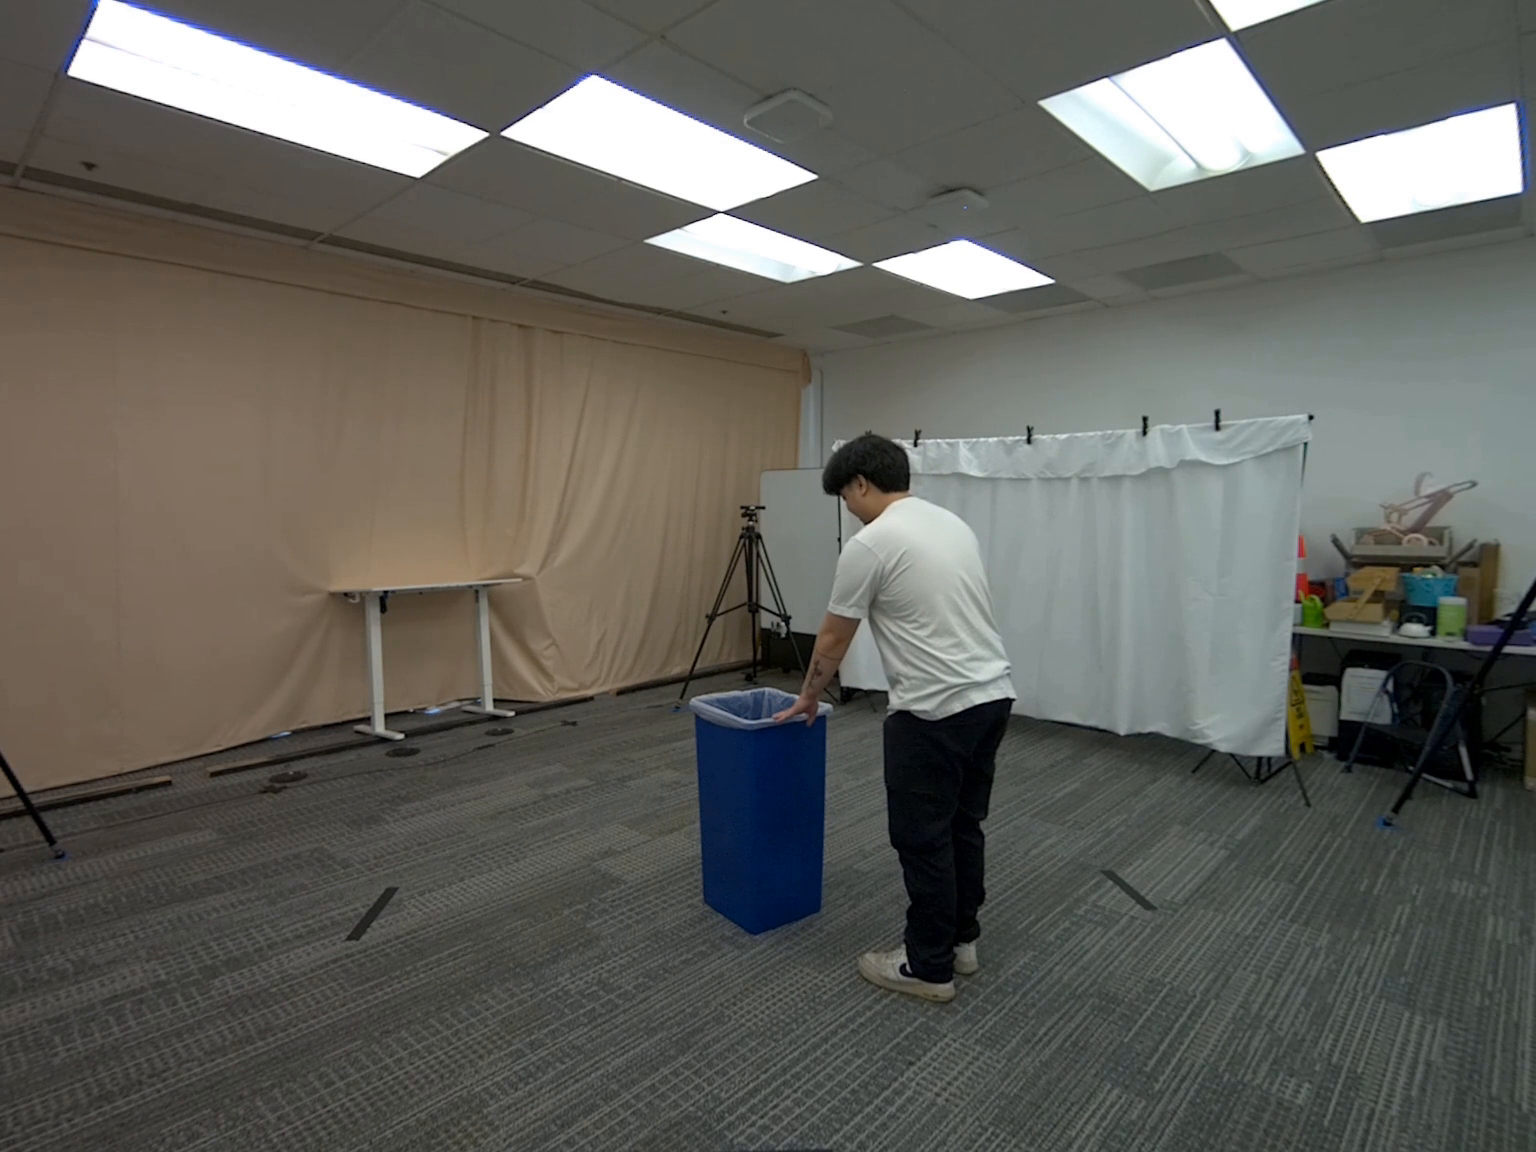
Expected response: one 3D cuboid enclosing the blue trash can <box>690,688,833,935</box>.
[{"bbox_3d":[-0.027,0.792,2.906,0.363,0.712,0.390,-2,4,-37],"label":"blue trash can"}]
